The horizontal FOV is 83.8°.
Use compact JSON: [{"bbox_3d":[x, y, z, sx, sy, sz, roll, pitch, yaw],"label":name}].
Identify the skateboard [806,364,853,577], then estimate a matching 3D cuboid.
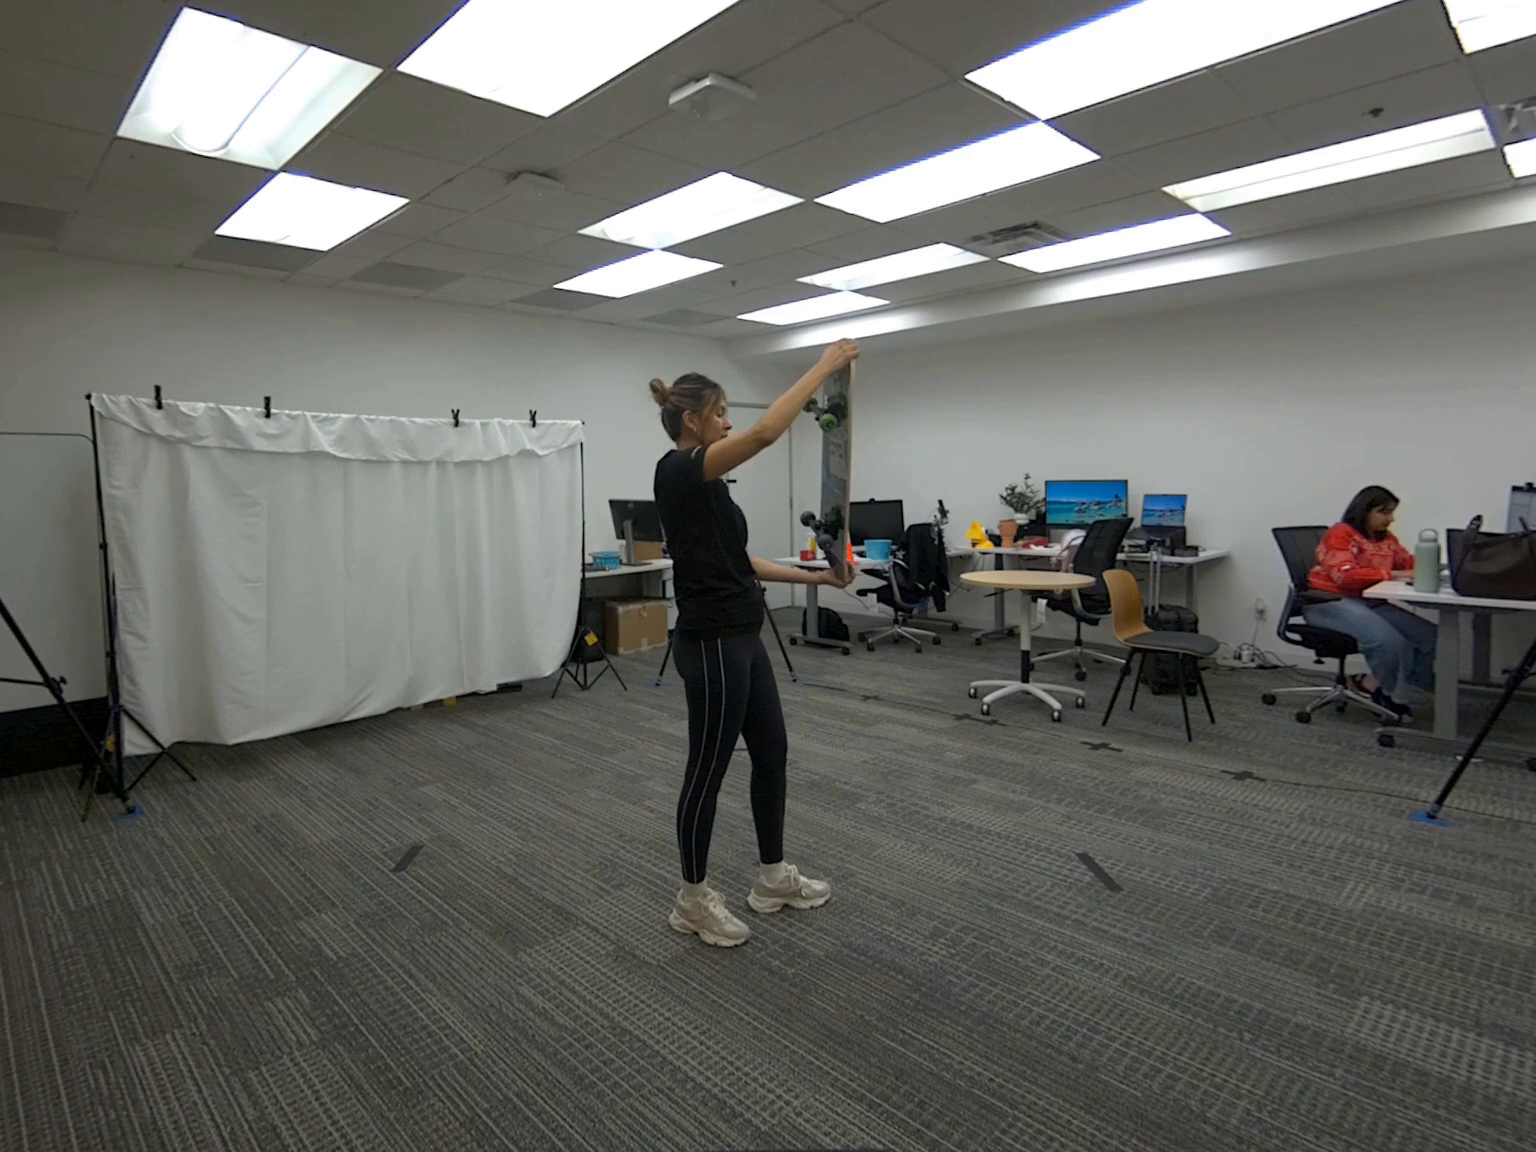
[{"bbox_3d":[0.185,-0.315,2.604,0.109,0.767,0.200,-9,30,-14],"label":"skateboard"}]
